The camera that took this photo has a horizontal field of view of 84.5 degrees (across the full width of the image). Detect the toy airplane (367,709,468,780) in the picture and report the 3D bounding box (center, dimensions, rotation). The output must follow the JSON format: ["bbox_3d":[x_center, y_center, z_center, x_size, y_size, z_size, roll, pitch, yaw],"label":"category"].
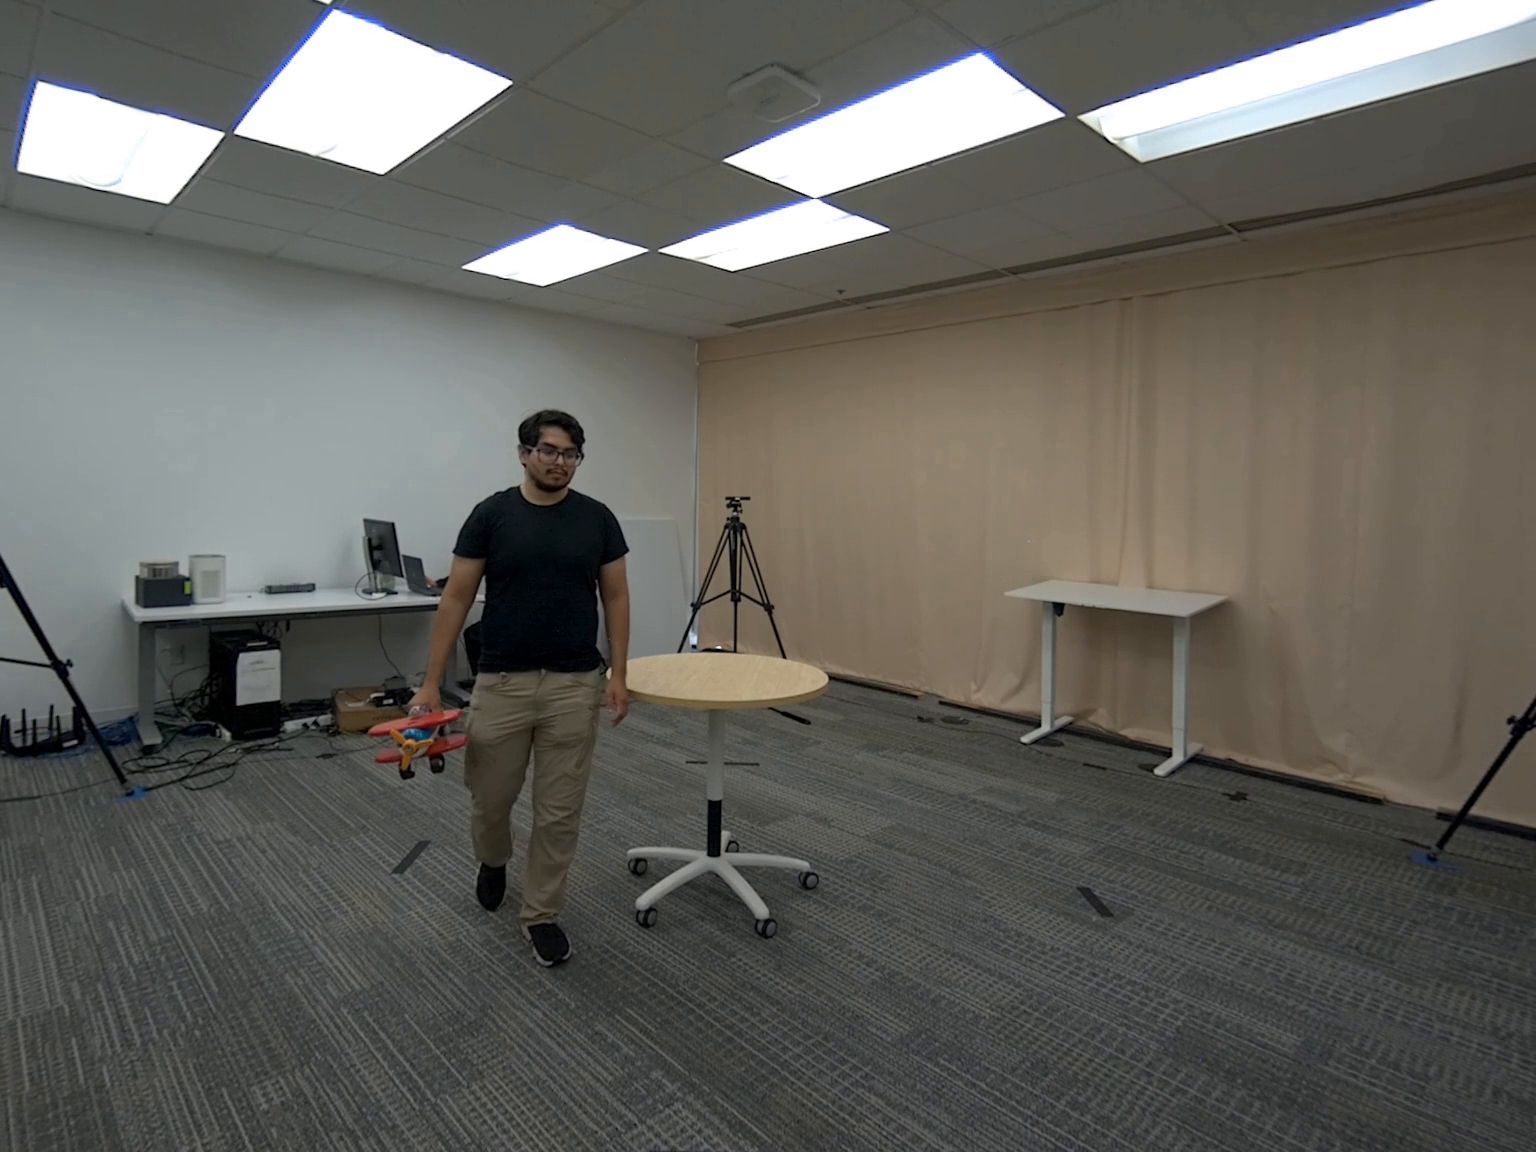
[{"bbox_3d":[-1.004,0.456,2.388,0.248,0.153,0.267,-24,29,-27],"label":"toy airplane"}]
